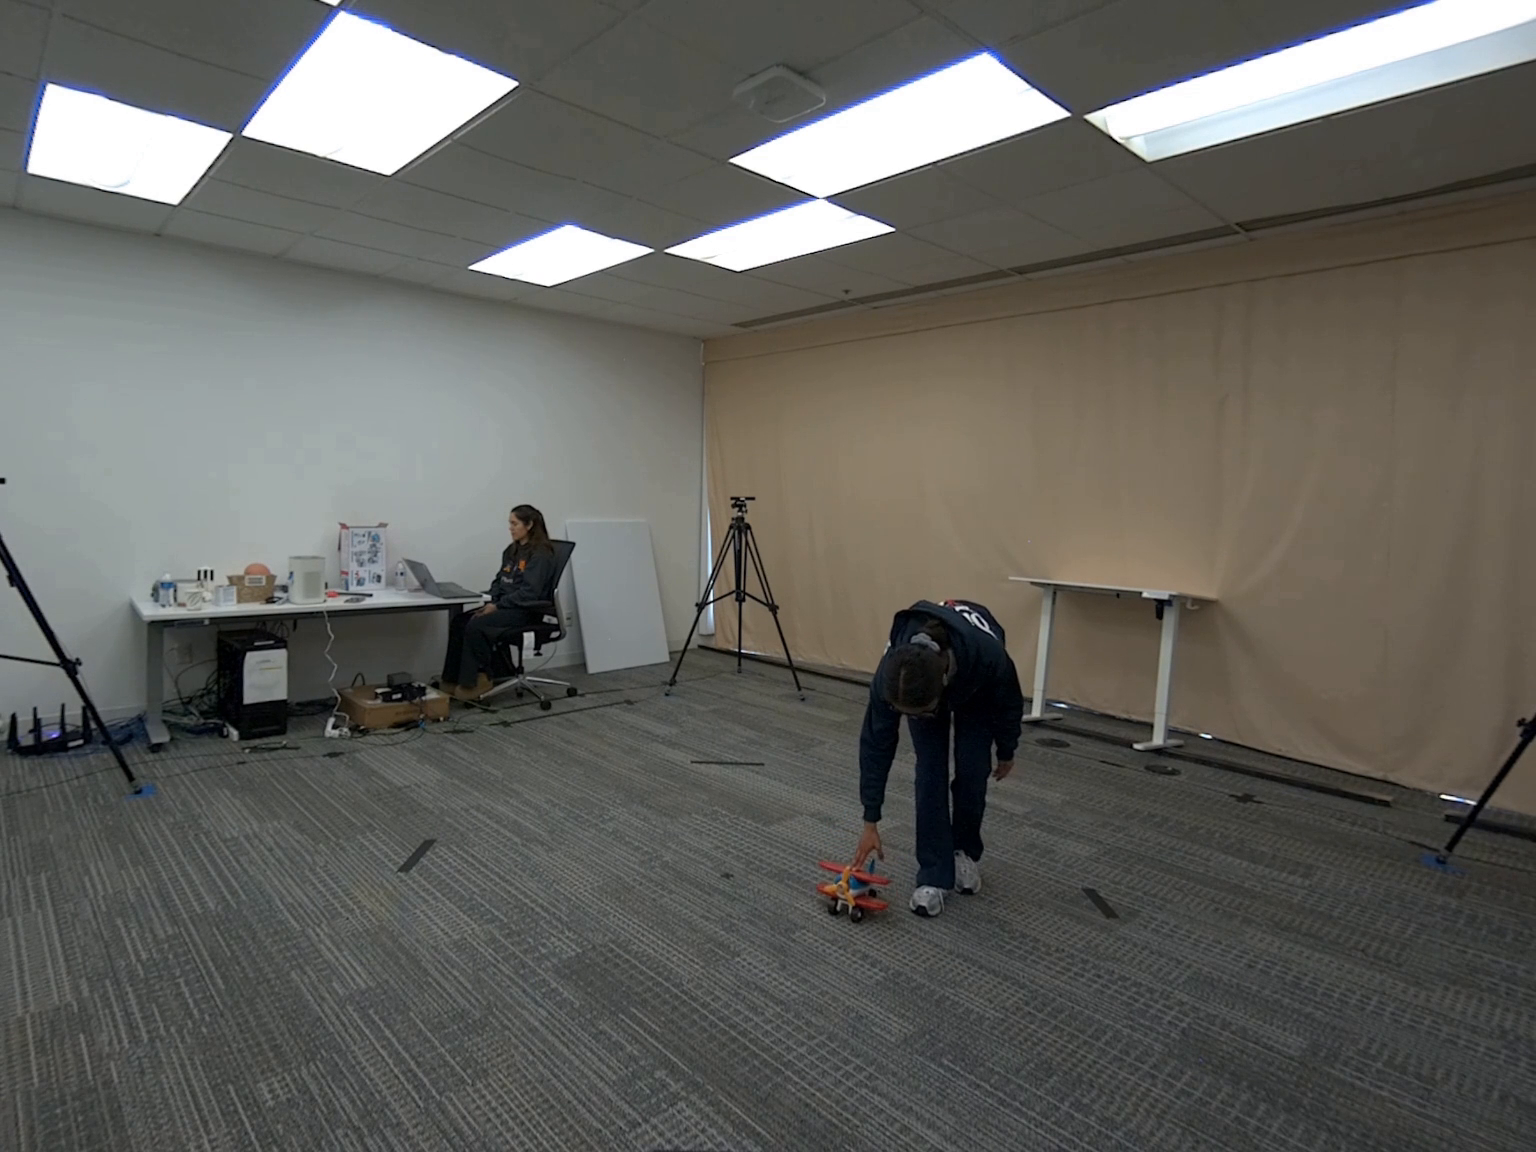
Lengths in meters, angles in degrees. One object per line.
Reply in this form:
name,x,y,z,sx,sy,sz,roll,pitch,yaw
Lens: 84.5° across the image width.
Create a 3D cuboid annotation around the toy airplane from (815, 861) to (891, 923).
toy airplane,0.282,1.063,2.889,0.252,0.156,0.259,0,7,4
